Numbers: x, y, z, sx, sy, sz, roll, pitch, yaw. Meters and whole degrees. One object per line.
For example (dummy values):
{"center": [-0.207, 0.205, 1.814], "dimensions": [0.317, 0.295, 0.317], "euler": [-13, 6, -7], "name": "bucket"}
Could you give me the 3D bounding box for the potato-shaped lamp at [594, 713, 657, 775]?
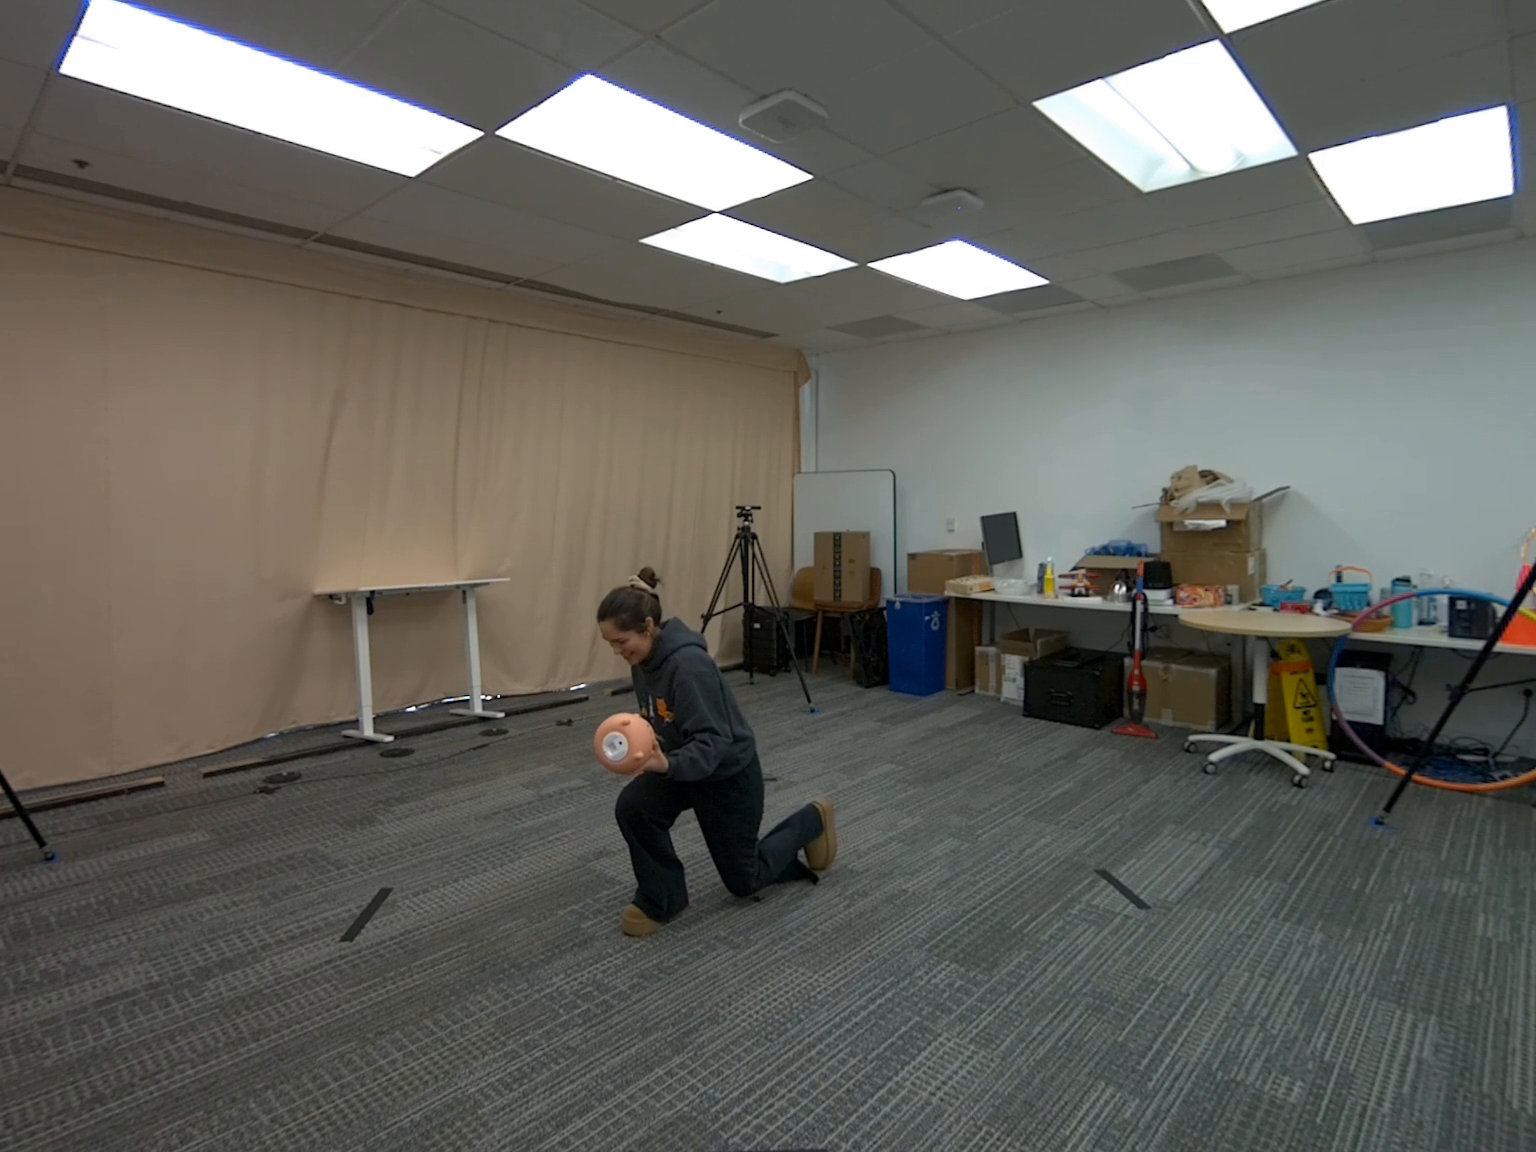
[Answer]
{"center": [-0.381, 0.472, 2.422], "dimensions": [0.173, 0.166, 0.194], "euler": [-30, -10, 17], "name": "potato-shaped lamp"}
